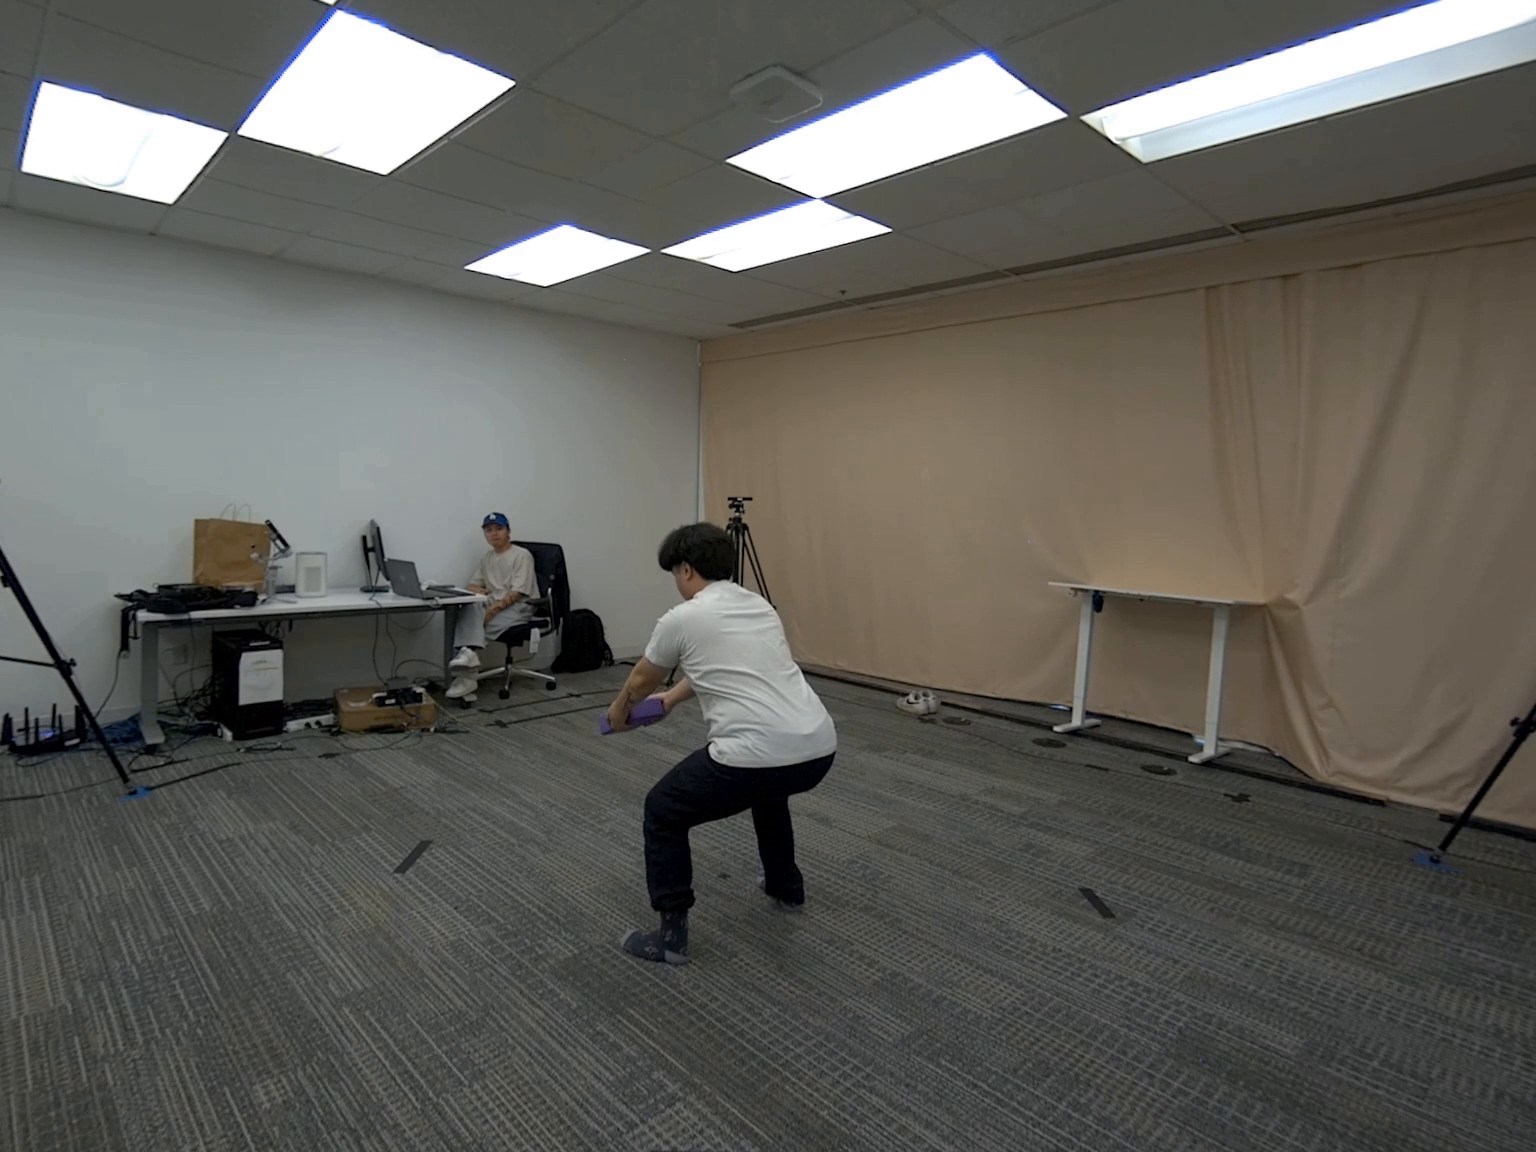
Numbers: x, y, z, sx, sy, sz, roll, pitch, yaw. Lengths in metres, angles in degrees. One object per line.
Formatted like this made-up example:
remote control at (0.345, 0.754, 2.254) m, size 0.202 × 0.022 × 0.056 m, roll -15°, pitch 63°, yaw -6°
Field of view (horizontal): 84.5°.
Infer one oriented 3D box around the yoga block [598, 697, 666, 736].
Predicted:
yoga block at (-0.517, 0.530, 3.150) m, size 0.145 × 0.077 × 0.231 m, roll -1°, pitch -20°, yaw -40°
